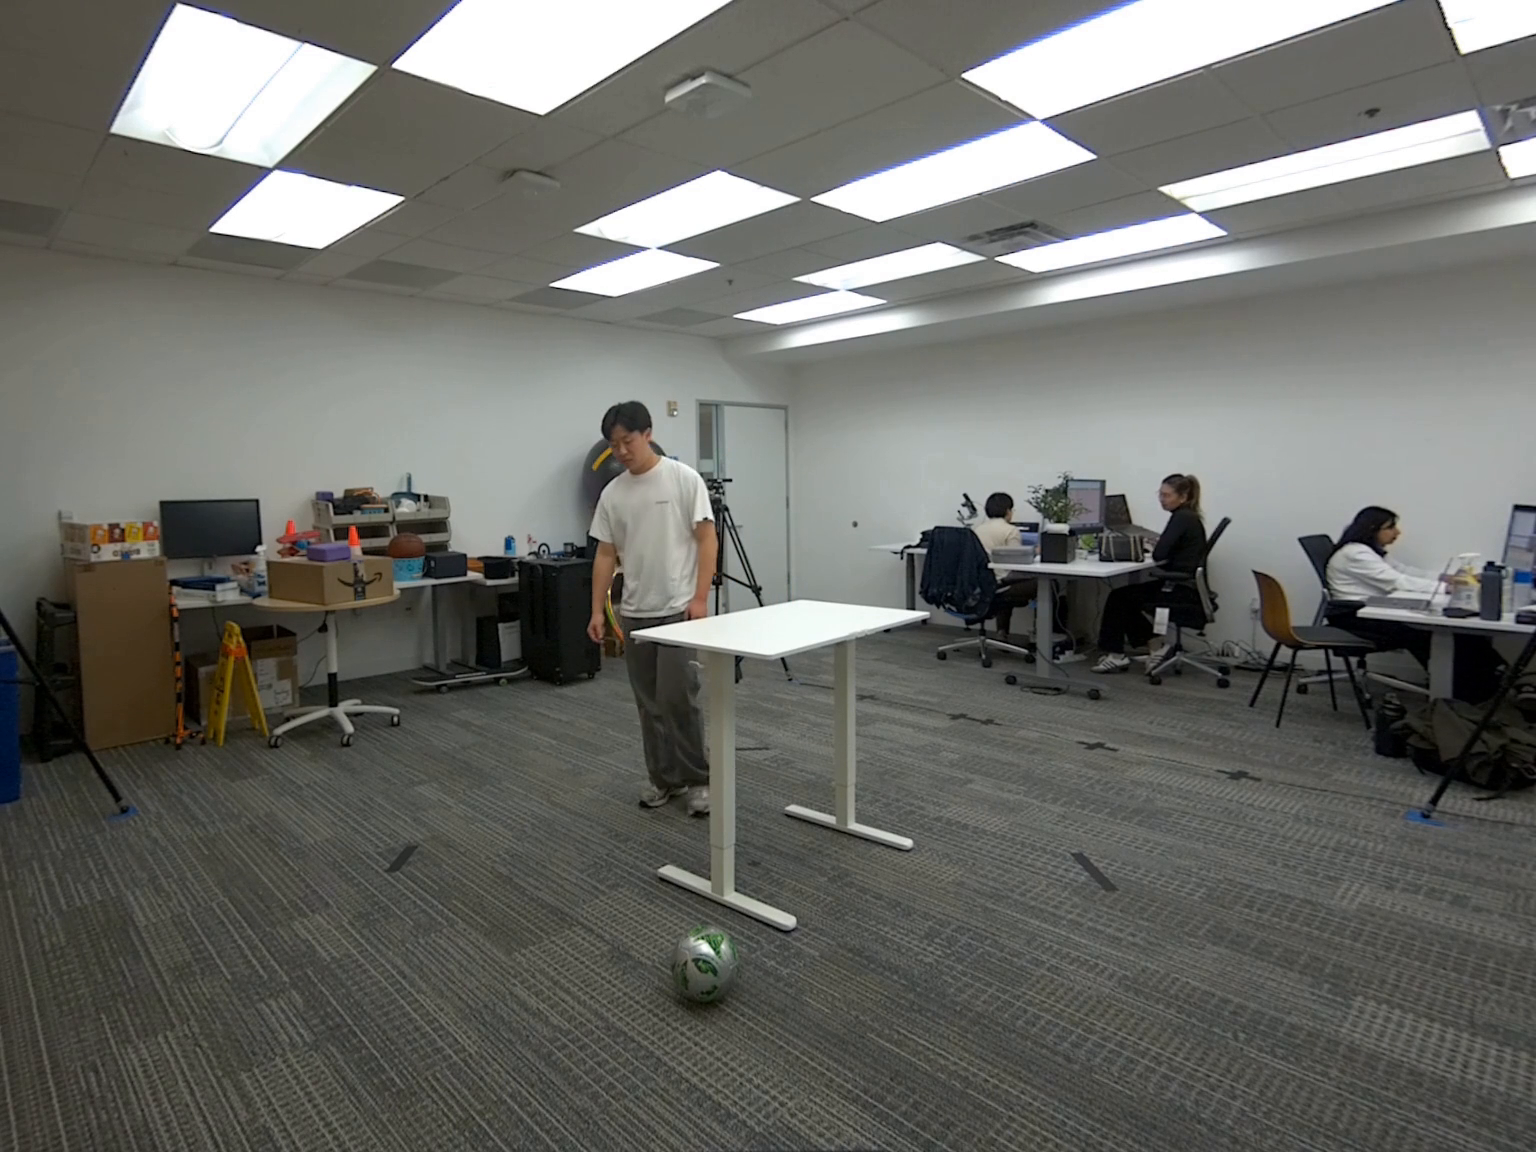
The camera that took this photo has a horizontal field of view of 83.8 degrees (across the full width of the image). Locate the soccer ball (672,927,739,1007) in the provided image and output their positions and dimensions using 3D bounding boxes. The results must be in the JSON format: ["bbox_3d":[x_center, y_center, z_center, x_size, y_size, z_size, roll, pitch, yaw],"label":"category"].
[{"bbox_3d":[-0.163,1.056,2.319,0.187,0.187,0.188,-1,5,-2],"label":"soccer ball"}]
